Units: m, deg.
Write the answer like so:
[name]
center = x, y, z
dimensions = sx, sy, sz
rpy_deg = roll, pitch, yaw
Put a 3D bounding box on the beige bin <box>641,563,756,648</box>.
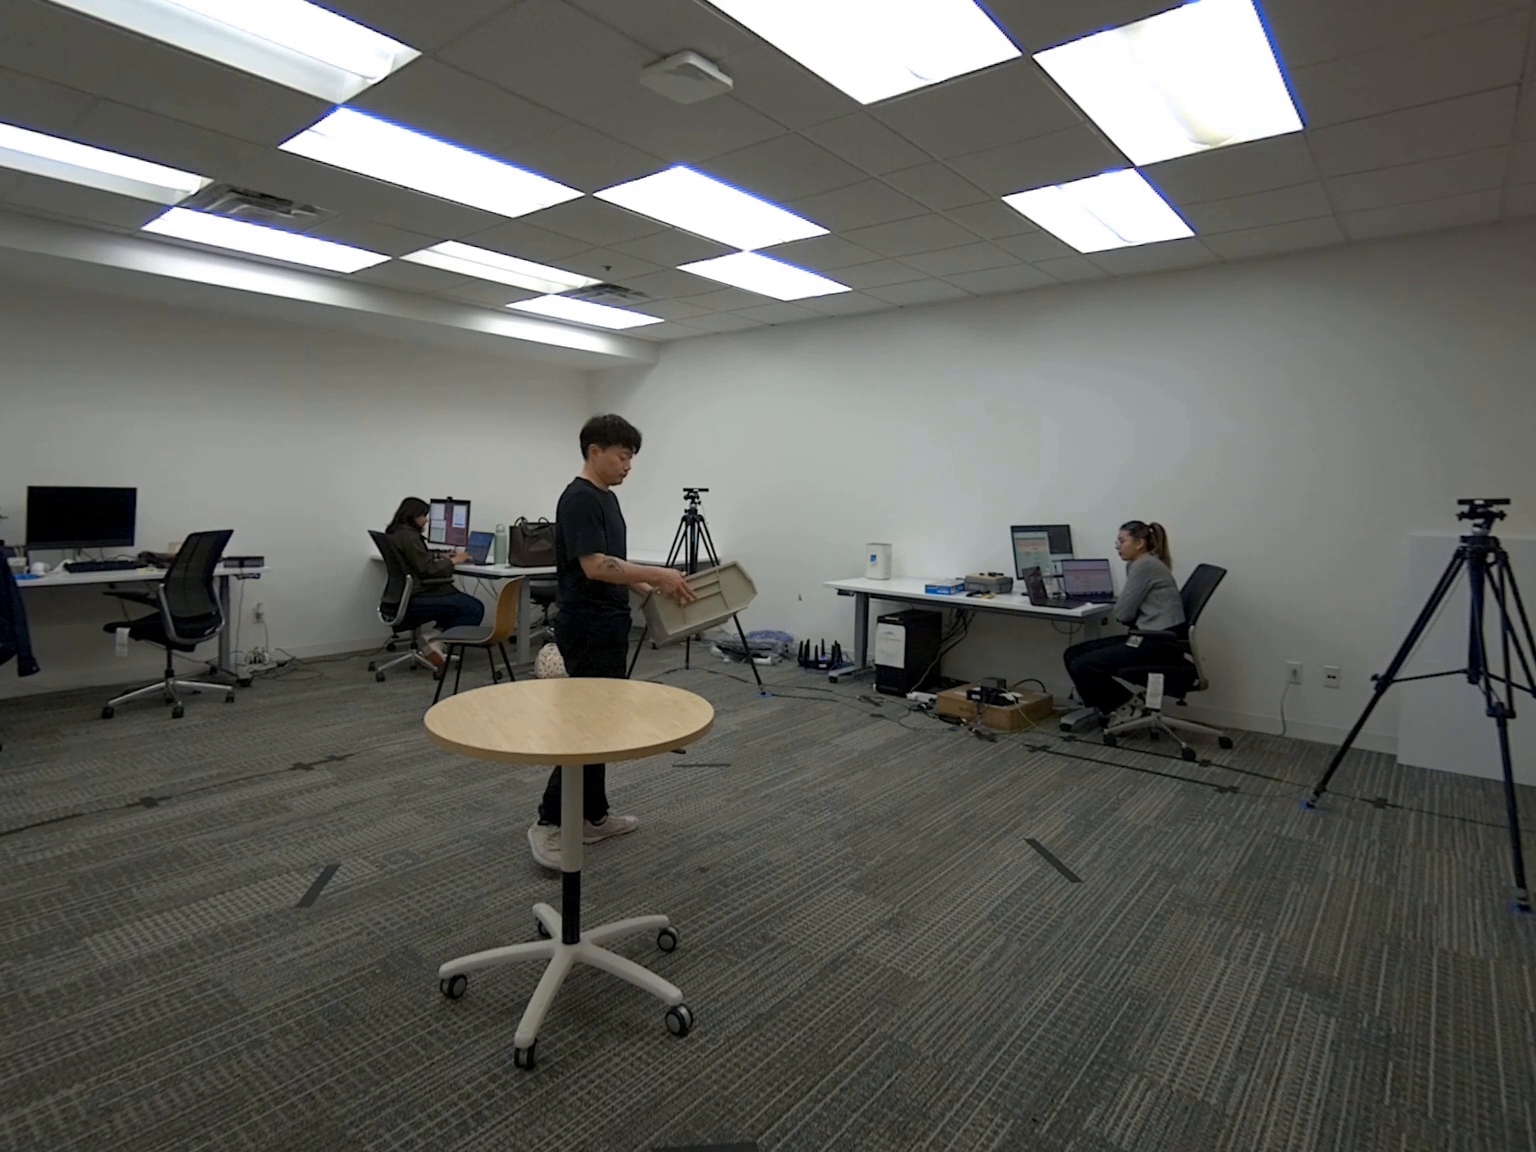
[beige bin]
center = -0.287, 0.114, 3.287
dimensions = 0.373, 0.191, 0.421
rpy_deg = -19, -8, -15
